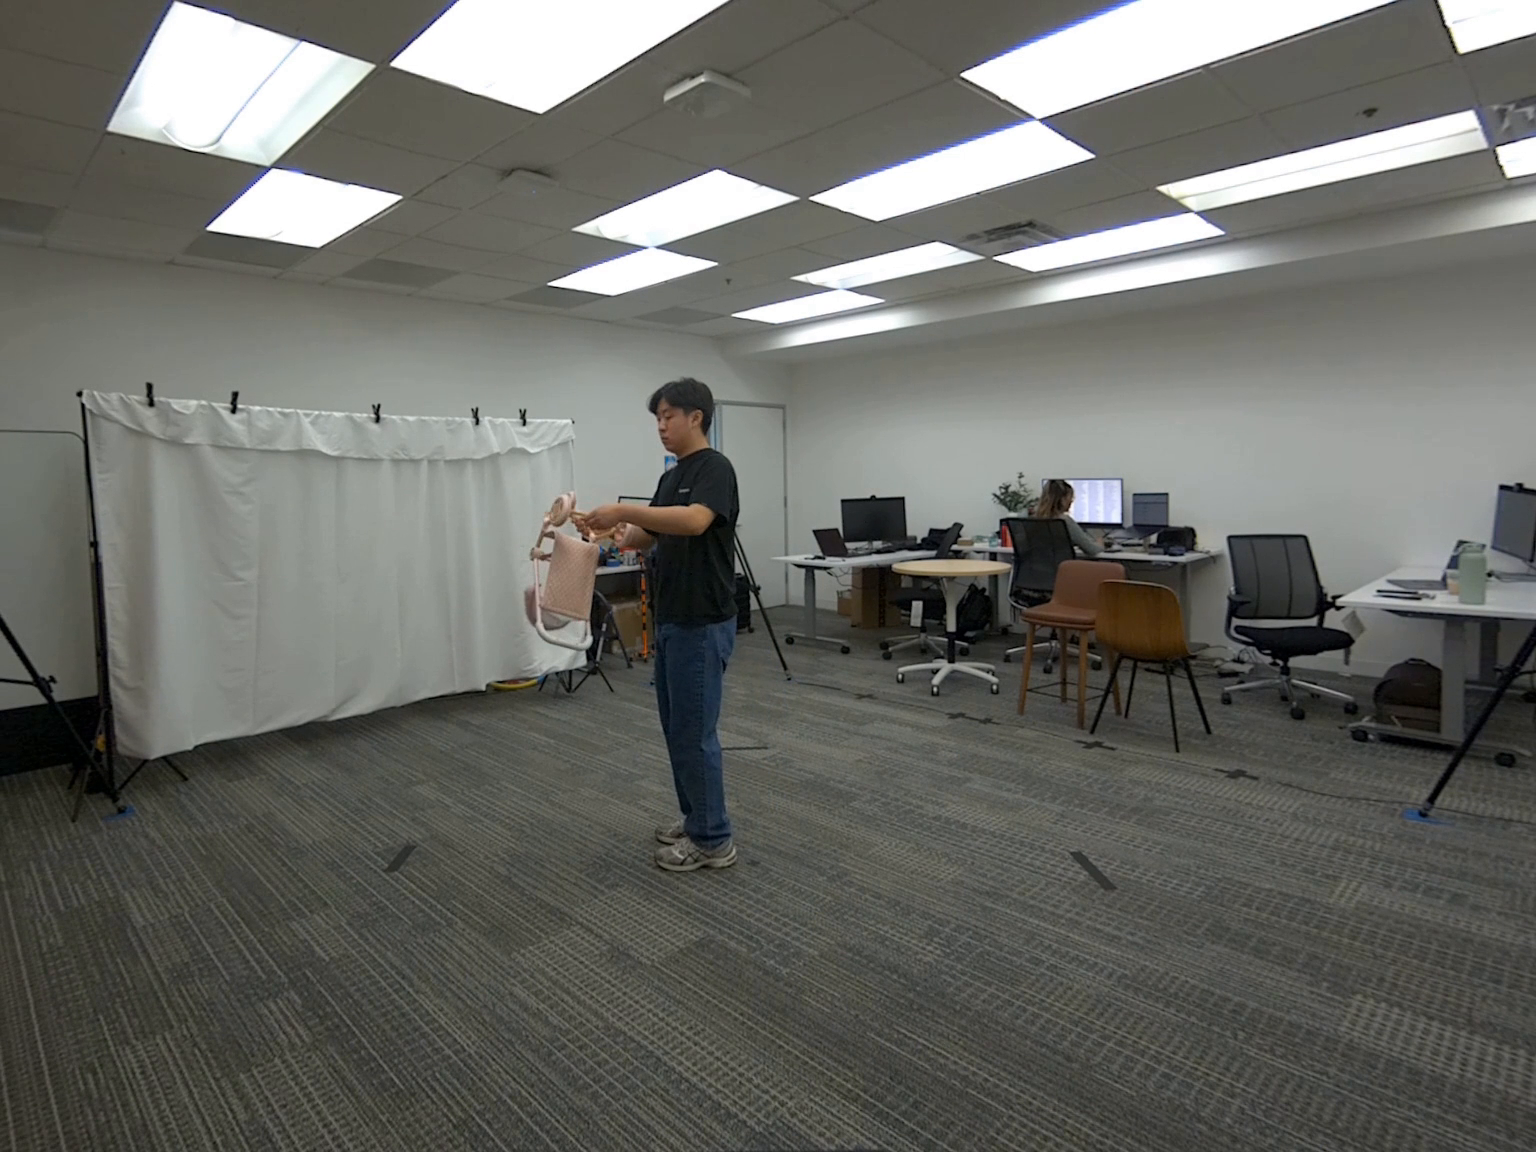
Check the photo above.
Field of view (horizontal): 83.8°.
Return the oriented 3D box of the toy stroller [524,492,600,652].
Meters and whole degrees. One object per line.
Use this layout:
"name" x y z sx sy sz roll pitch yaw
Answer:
"toy stroller" -0.691 -0.040 2.947 0.271 0.538 0.351 20 -10 -38
